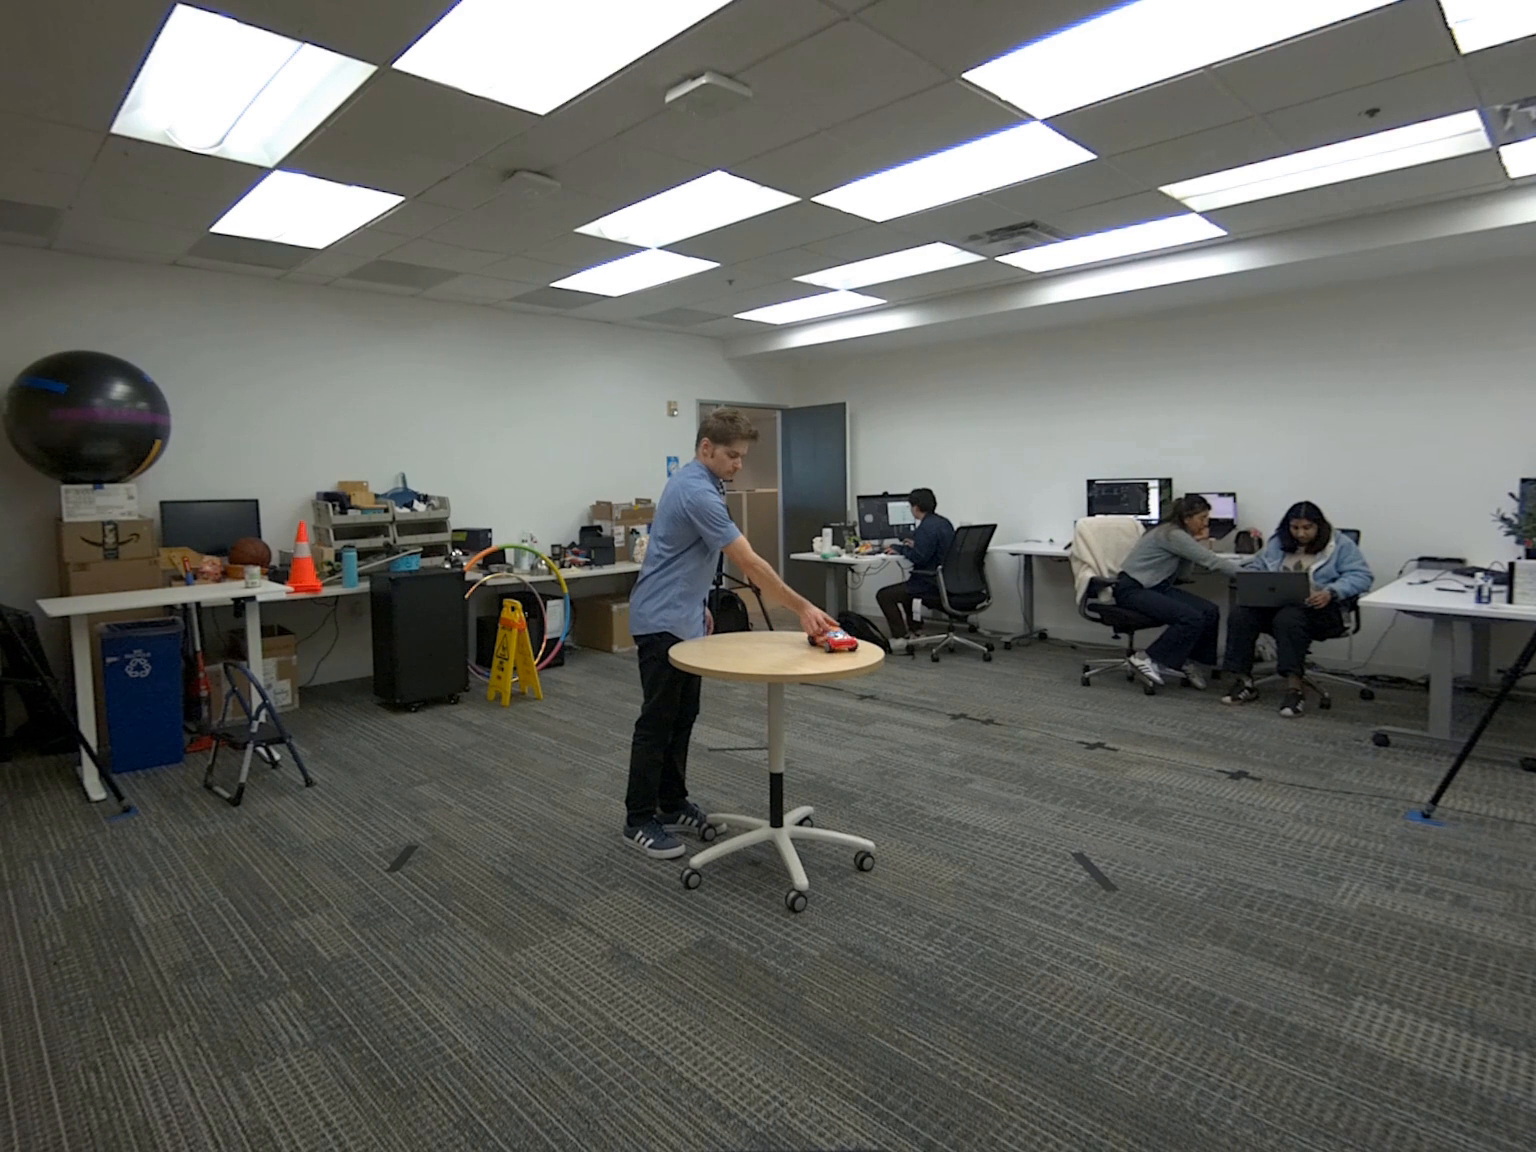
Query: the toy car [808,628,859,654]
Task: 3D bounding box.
[{"bbox_3d":[0.233,0.228,3.105,0.128,0.082,0.261,-2,17,-15],"label":"toy car"}]
